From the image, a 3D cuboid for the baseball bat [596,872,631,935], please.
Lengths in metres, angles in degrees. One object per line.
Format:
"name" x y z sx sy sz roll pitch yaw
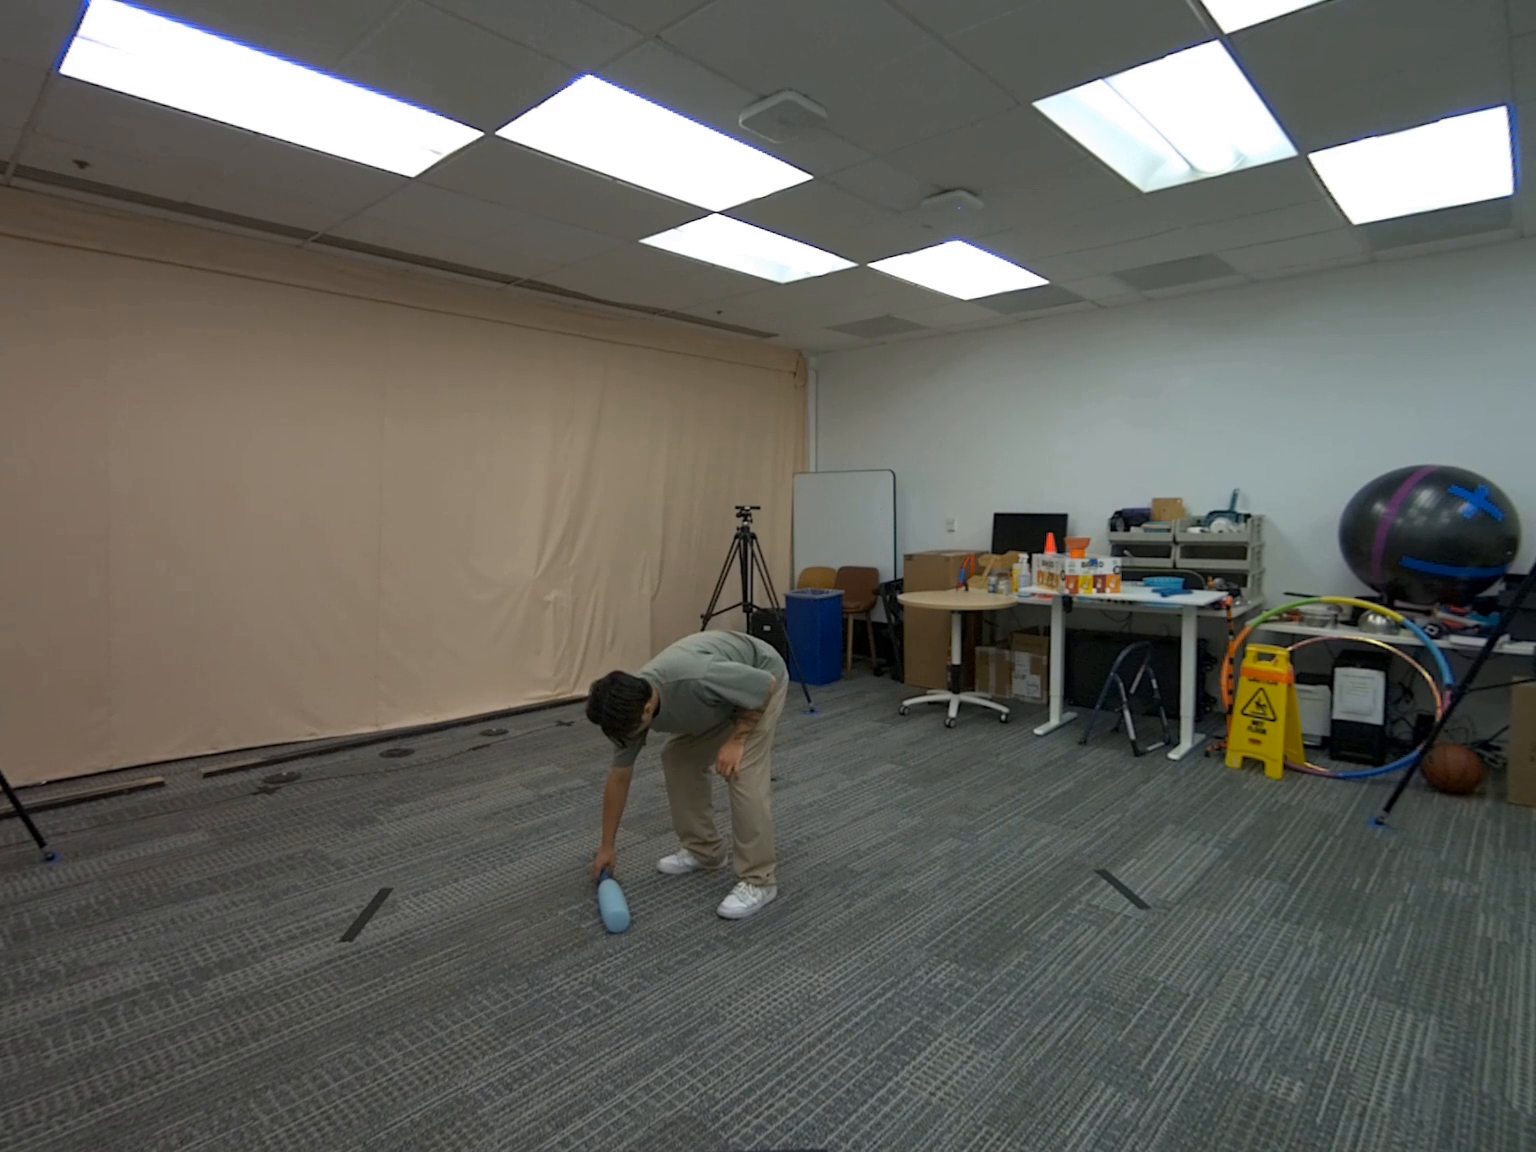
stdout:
"baseball bat" -0.565 1.101 2.991 0.088 0.089 0.553 -1 5 -16
